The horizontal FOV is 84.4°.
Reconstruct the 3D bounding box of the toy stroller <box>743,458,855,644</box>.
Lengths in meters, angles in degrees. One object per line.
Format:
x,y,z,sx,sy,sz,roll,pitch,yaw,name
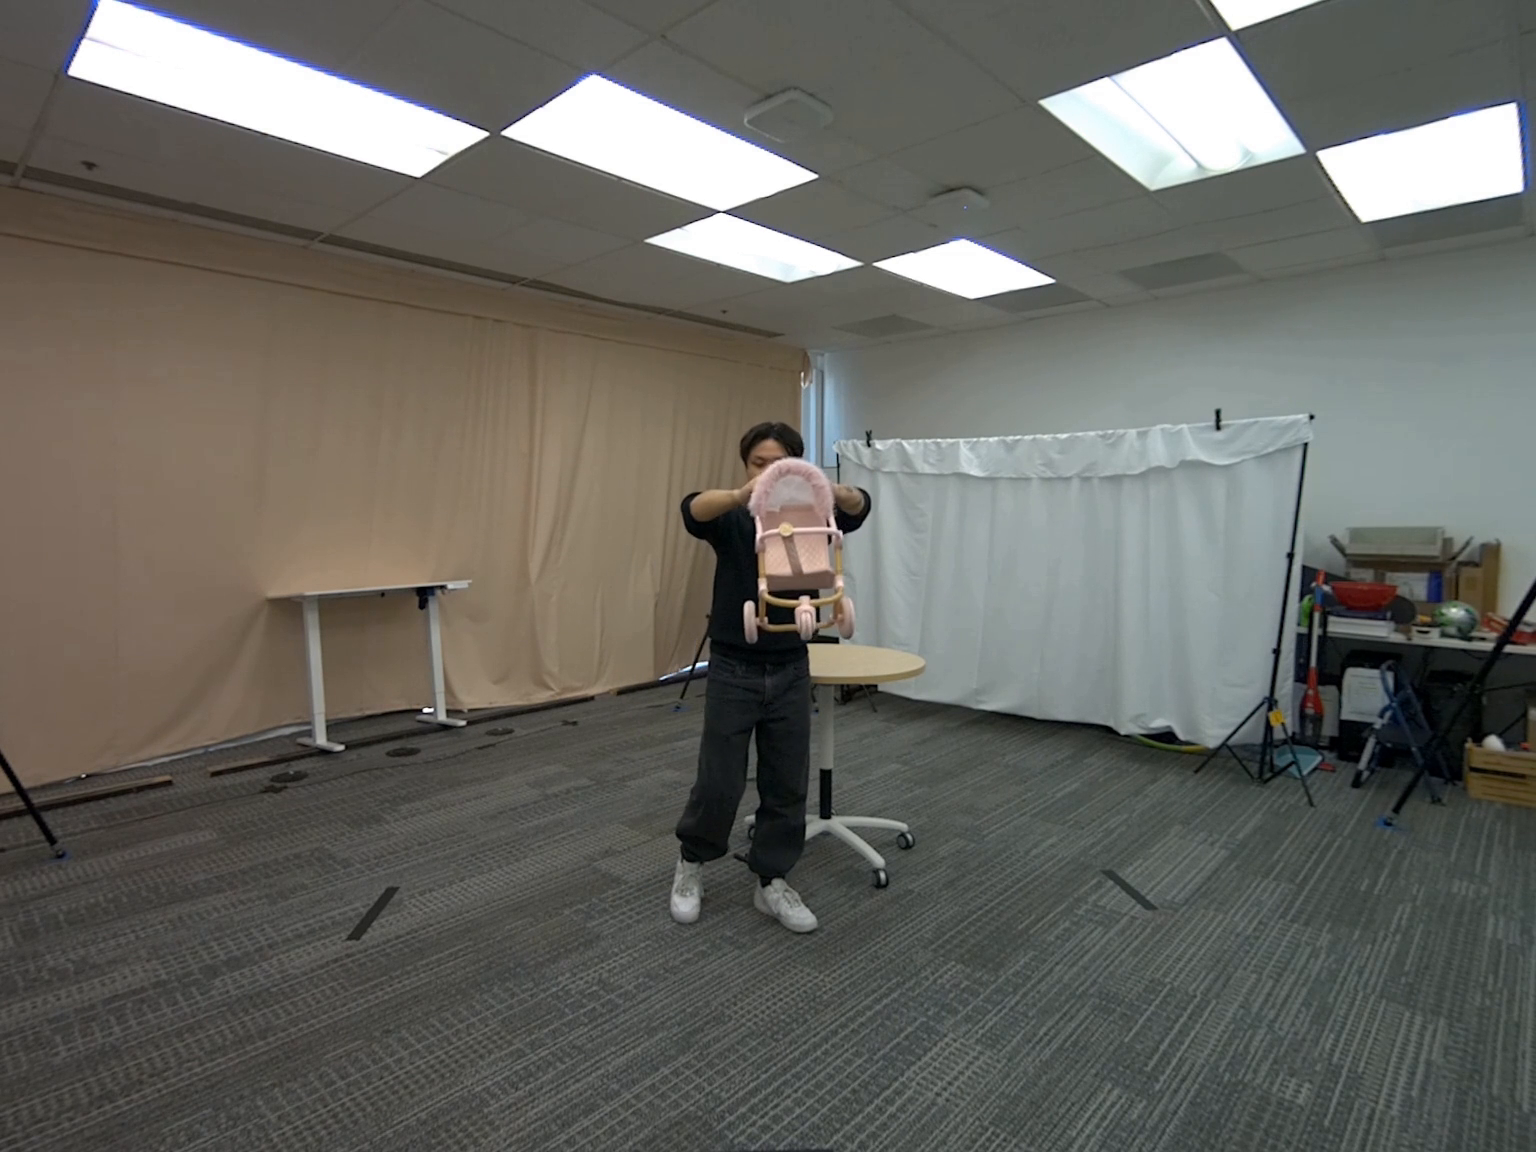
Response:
0.069,-0.064,2.144,0.283,0.542,0.335,-4,-20,3,toy stroller
